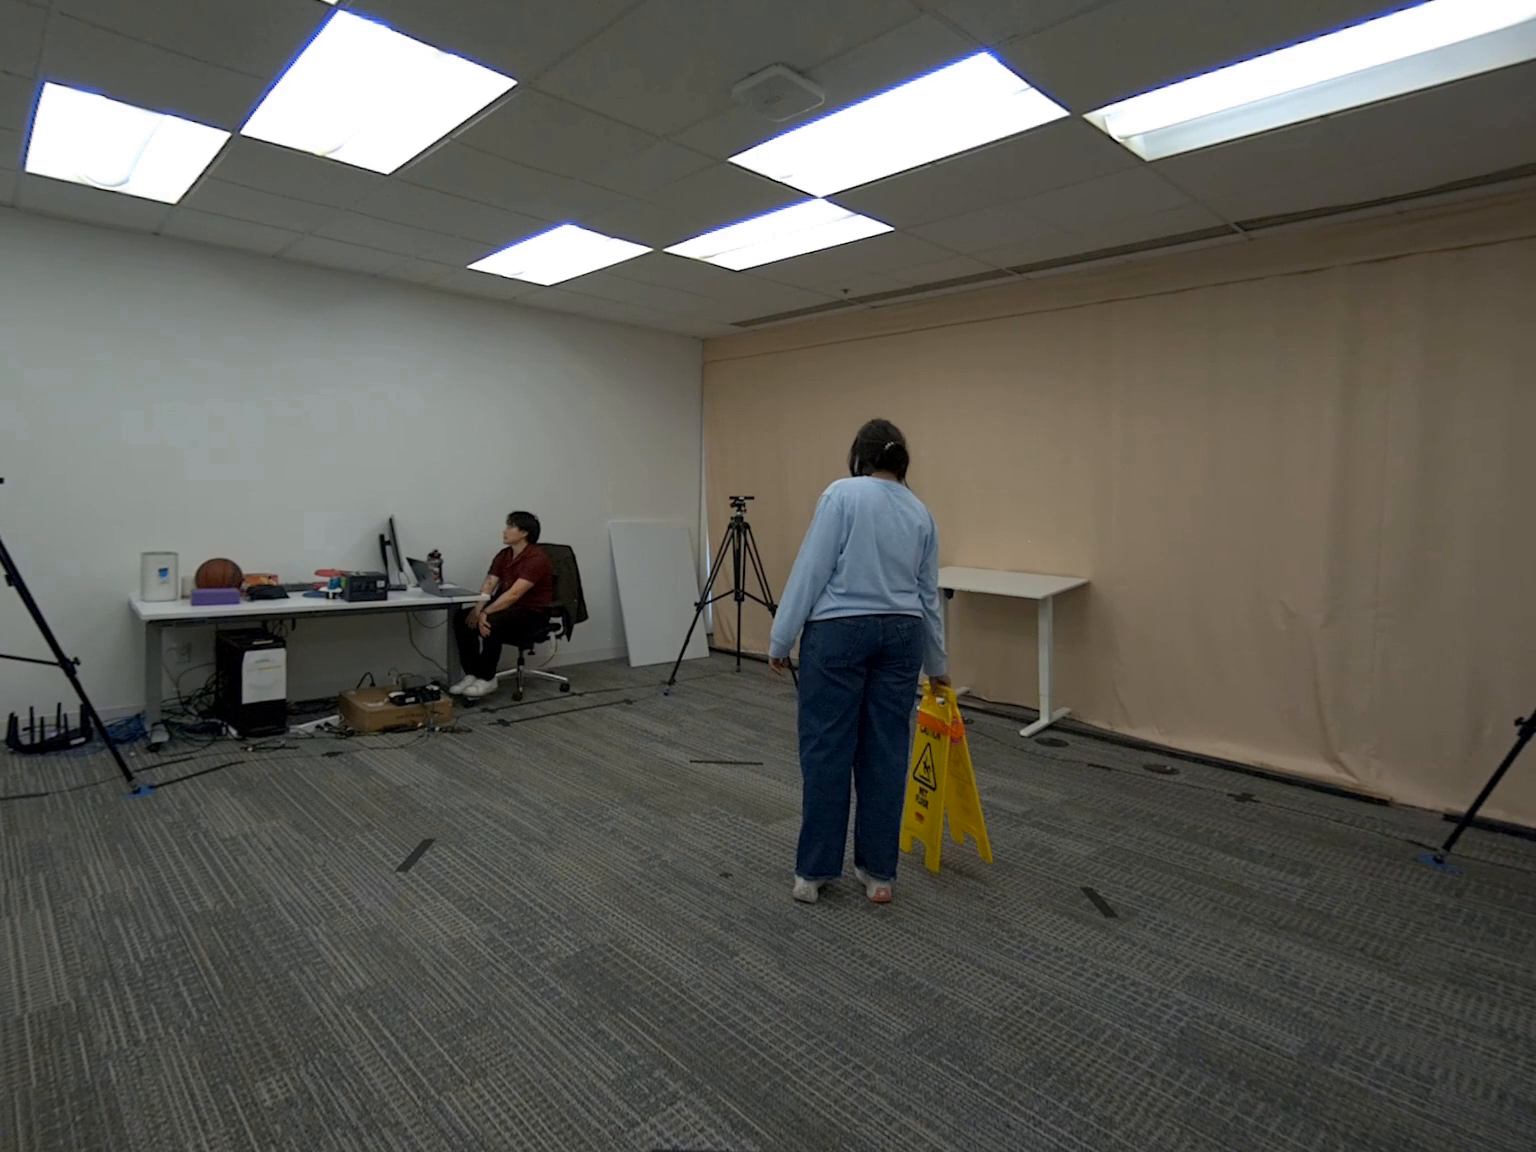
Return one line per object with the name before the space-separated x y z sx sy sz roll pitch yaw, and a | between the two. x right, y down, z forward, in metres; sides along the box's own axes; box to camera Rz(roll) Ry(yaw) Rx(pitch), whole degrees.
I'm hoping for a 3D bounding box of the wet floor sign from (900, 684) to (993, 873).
wet floor sign | 0.652 0.738 3.179 0.287 0.646 0.285 -3 1 -15
